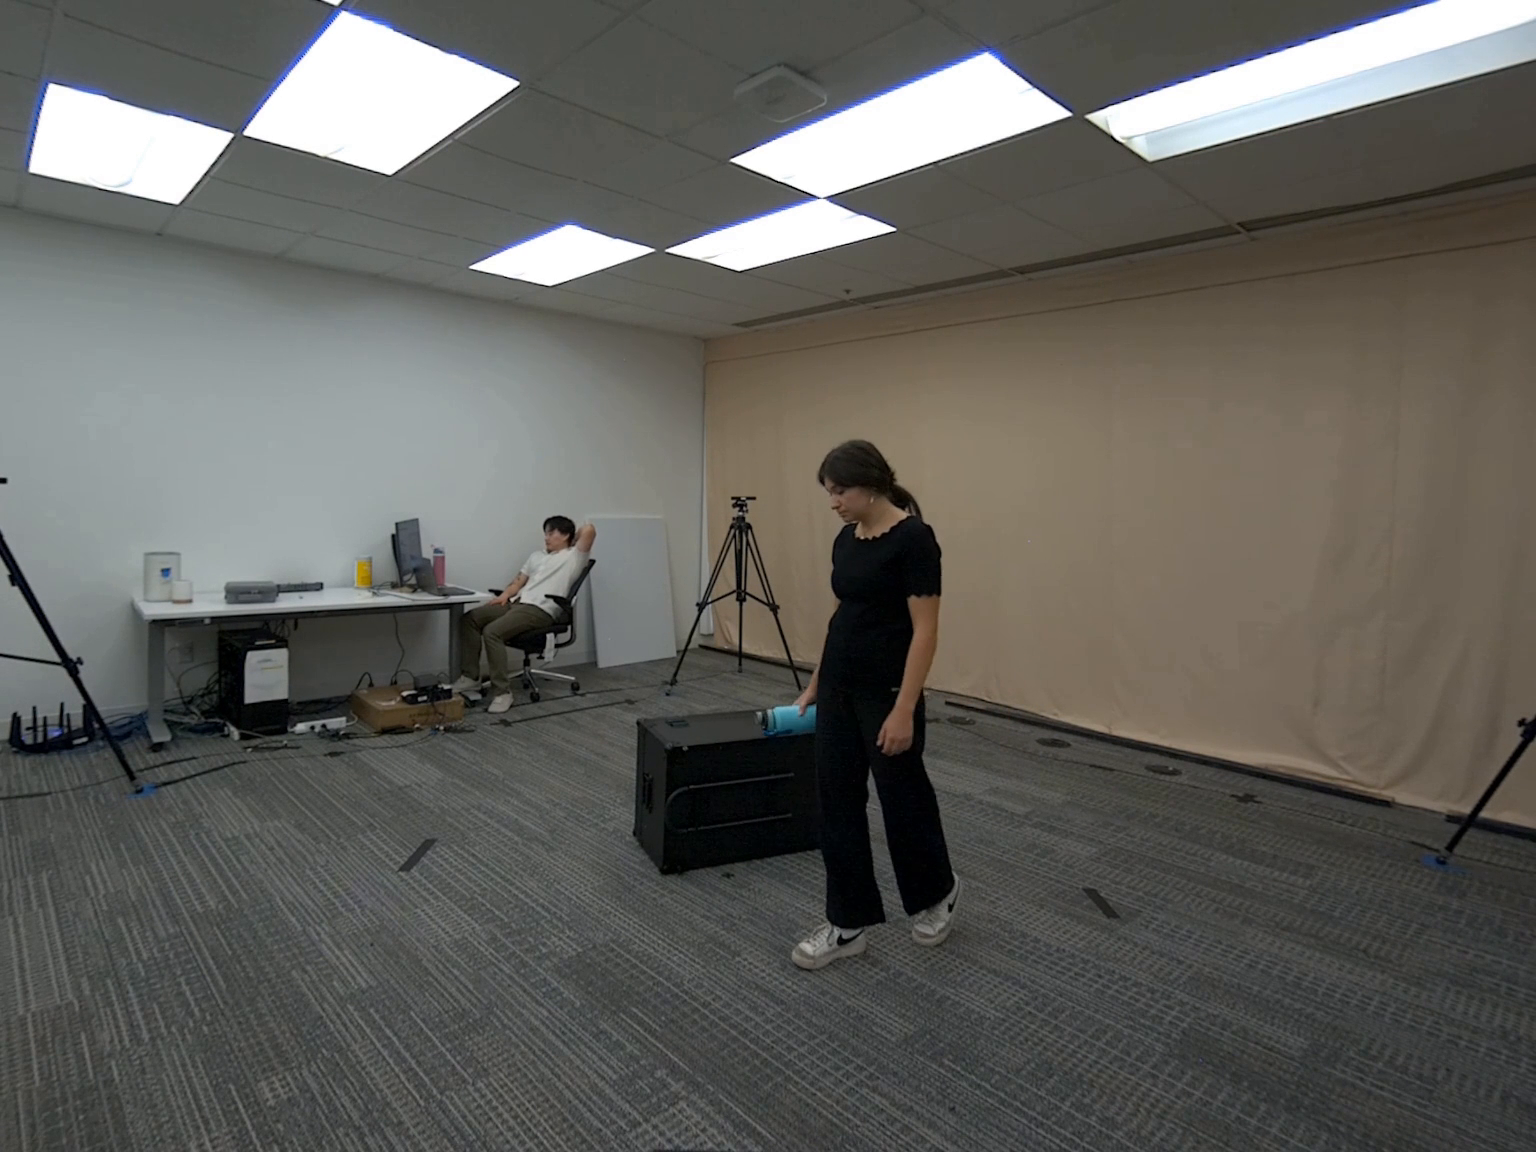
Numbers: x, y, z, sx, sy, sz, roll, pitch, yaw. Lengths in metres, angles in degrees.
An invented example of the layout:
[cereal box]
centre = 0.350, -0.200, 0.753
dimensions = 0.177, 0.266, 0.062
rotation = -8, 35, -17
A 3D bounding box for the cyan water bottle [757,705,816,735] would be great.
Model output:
[cyan water bottle]
centre = 0.102, 0.463, 2.751
dimensions = 0.282, 0.092, 0.093
rotation = -5, 5, -7
